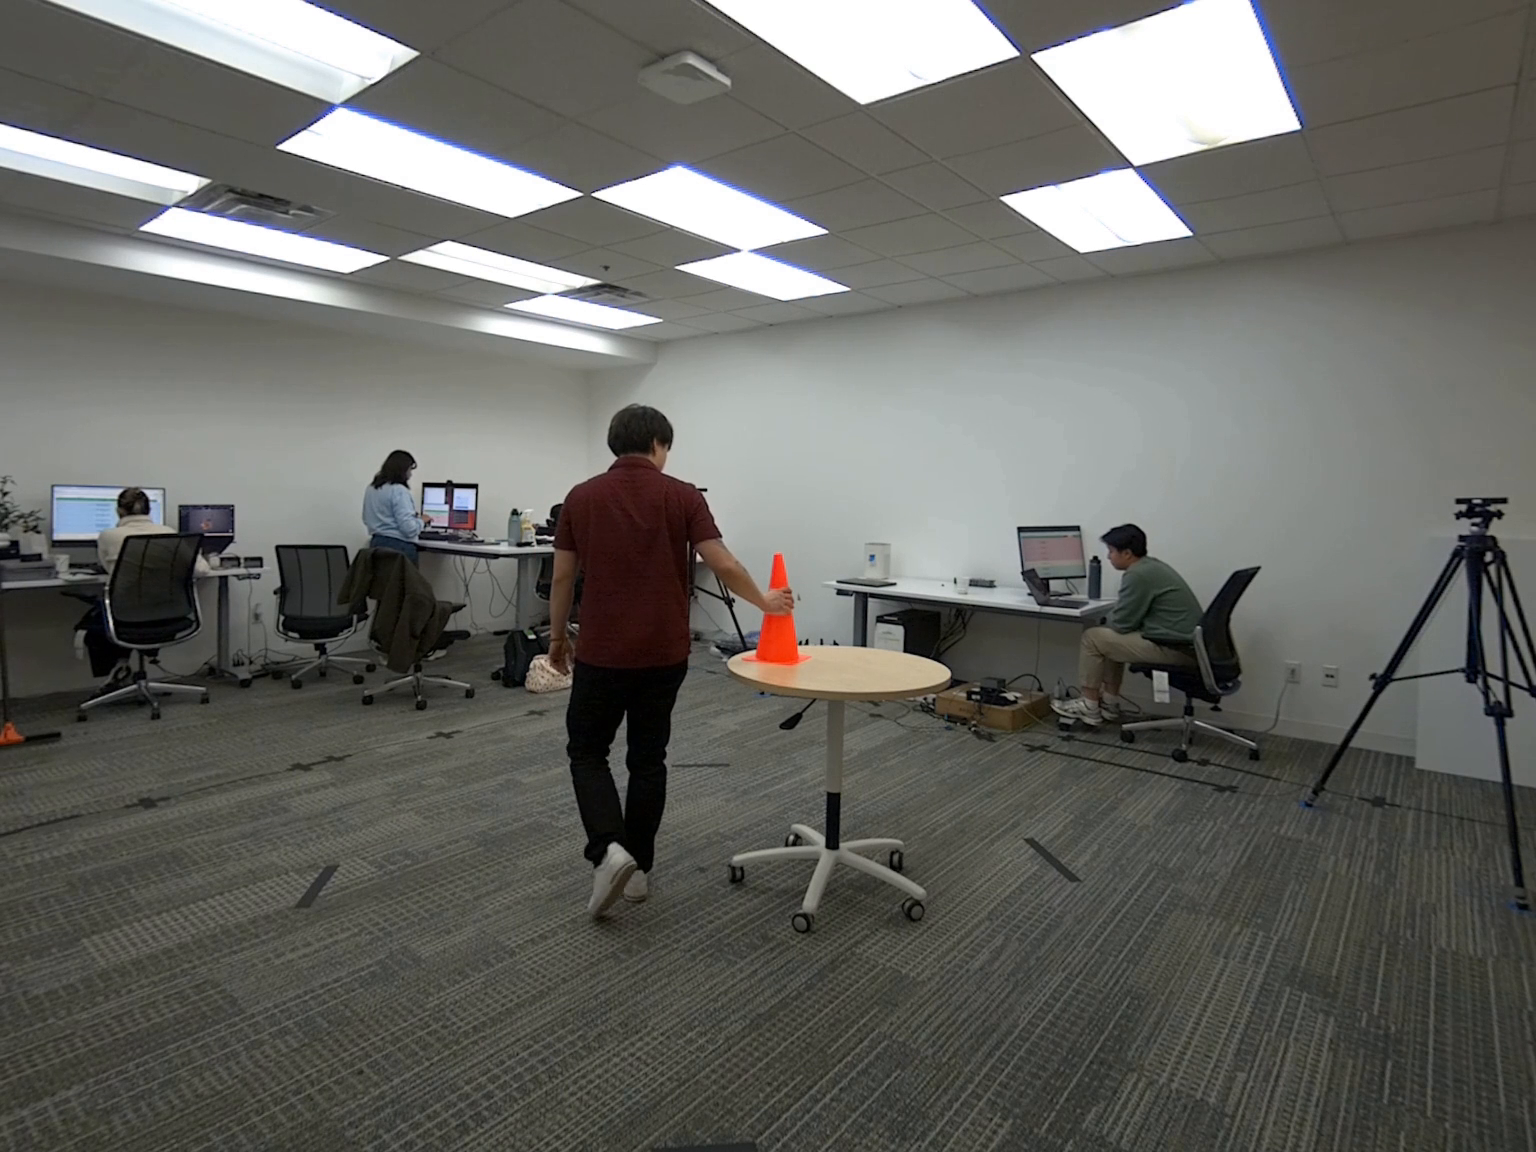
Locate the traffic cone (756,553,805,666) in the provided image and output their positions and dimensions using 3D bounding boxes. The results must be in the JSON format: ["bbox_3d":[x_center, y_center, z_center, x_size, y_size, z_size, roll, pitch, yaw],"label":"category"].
[{"bbox_3d":[0.027,0.112,3.055,0.208,0.383,0.200,2,3,24],"label":"traffic cone"}]
